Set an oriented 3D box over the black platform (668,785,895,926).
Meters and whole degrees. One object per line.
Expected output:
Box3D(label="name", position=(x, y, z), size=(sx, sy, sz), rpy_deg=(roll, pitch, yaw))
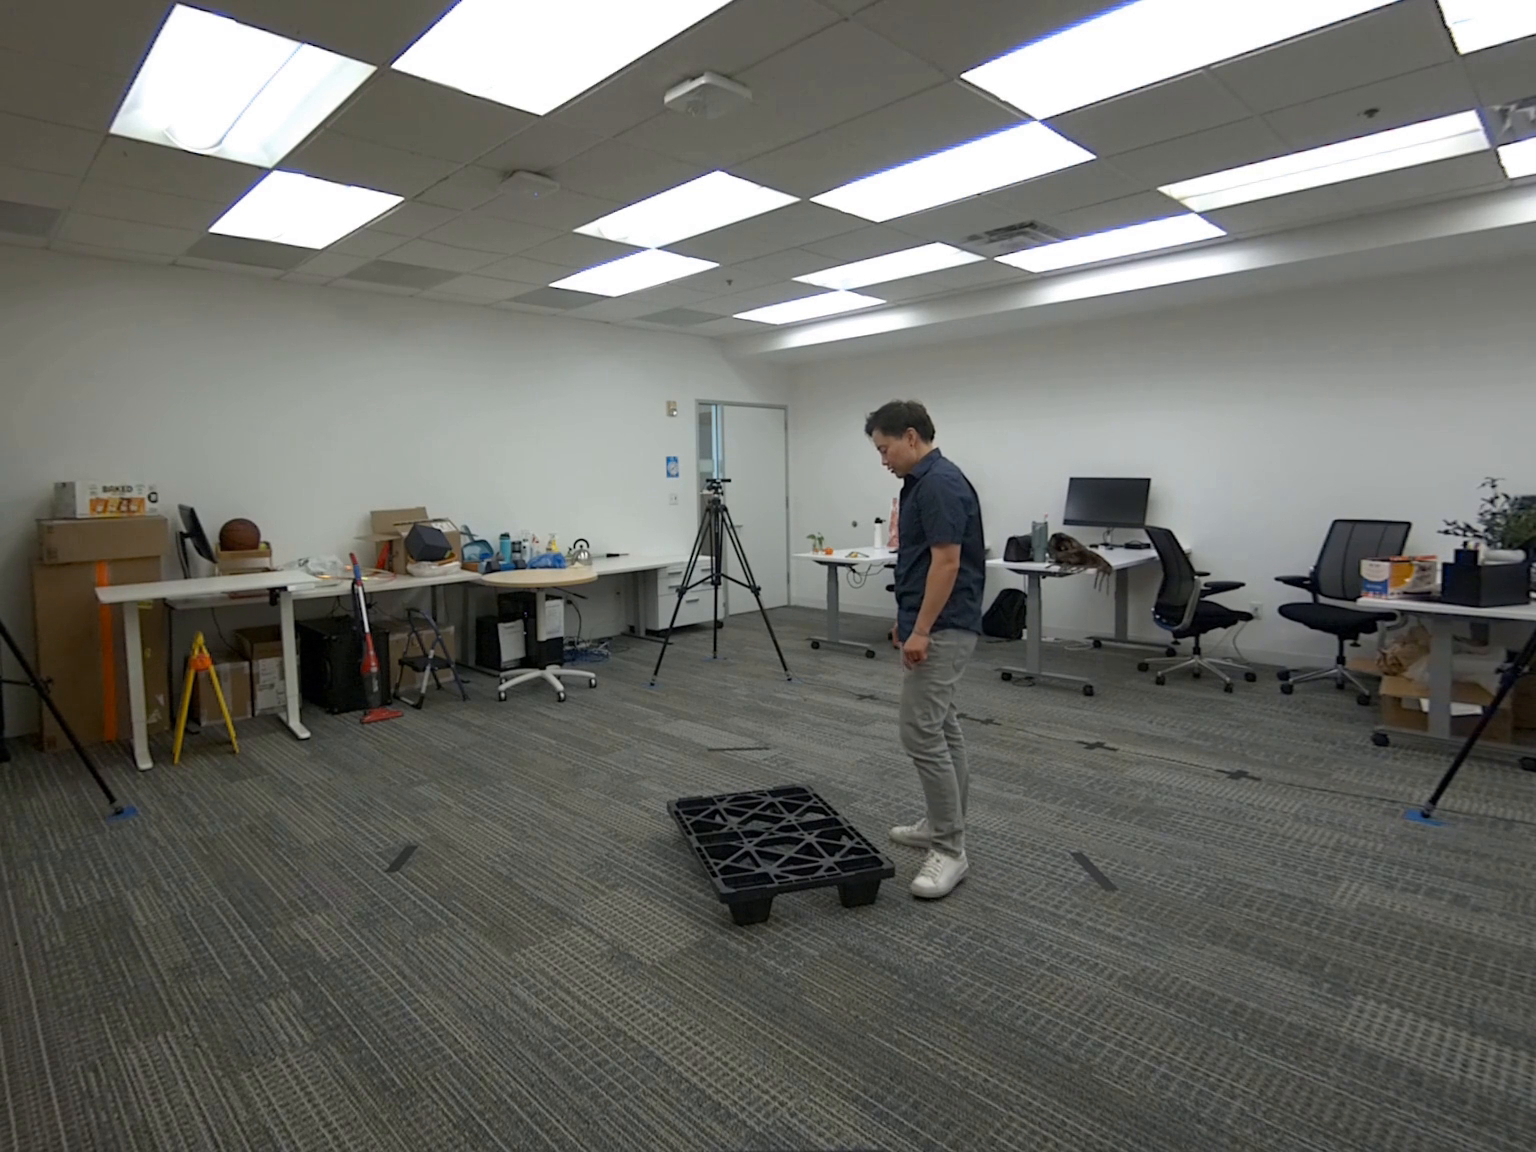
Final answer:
Box3D(label="black platform", position=(0.009, 0.979, 3.072), size=(0.596, 0.143, 0.821), rpy_deg=(-3, 6, -17))
